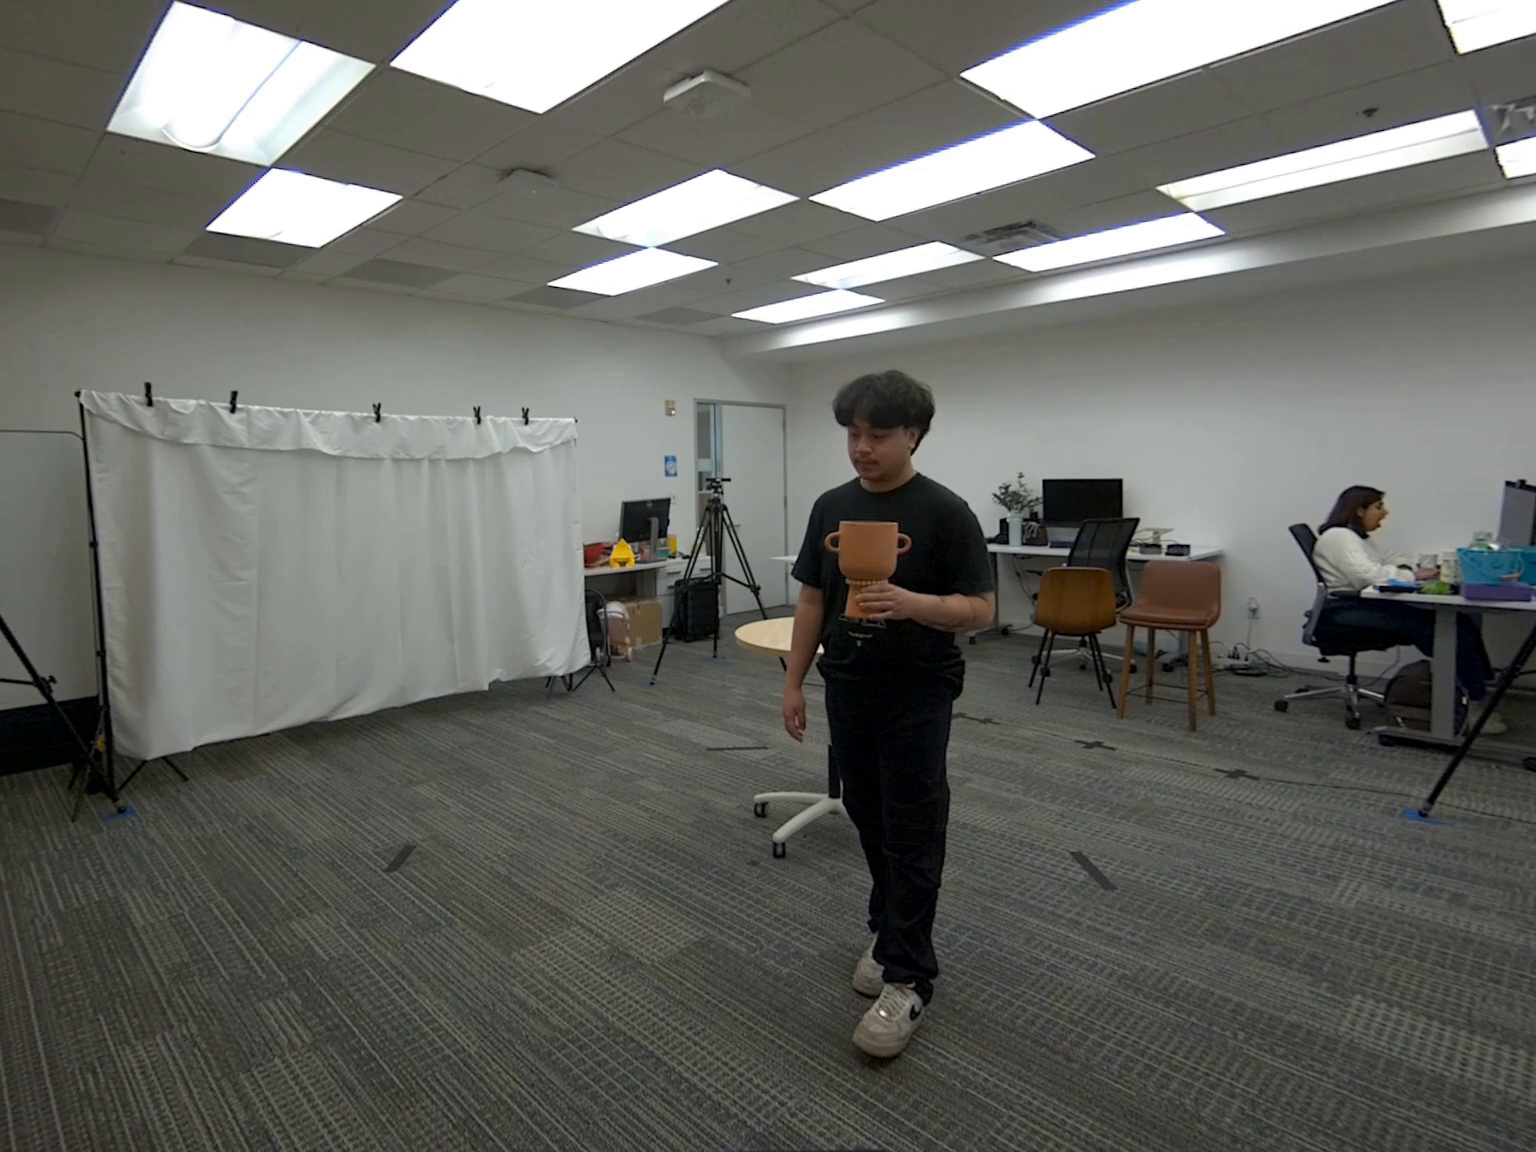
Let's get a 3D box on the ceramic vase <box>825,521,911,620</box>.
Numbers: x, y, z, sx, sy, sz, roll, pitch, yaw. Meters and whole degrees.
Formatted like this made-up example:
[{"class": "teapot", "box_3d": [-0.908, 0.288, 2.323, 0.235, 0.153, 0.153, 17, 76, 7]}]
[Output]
[{"class": "ceramic vase", "box_3d": [0.233, -0.015, 2.007, 0.164, 0.219, 0.131, 4, 6, 41]}]
